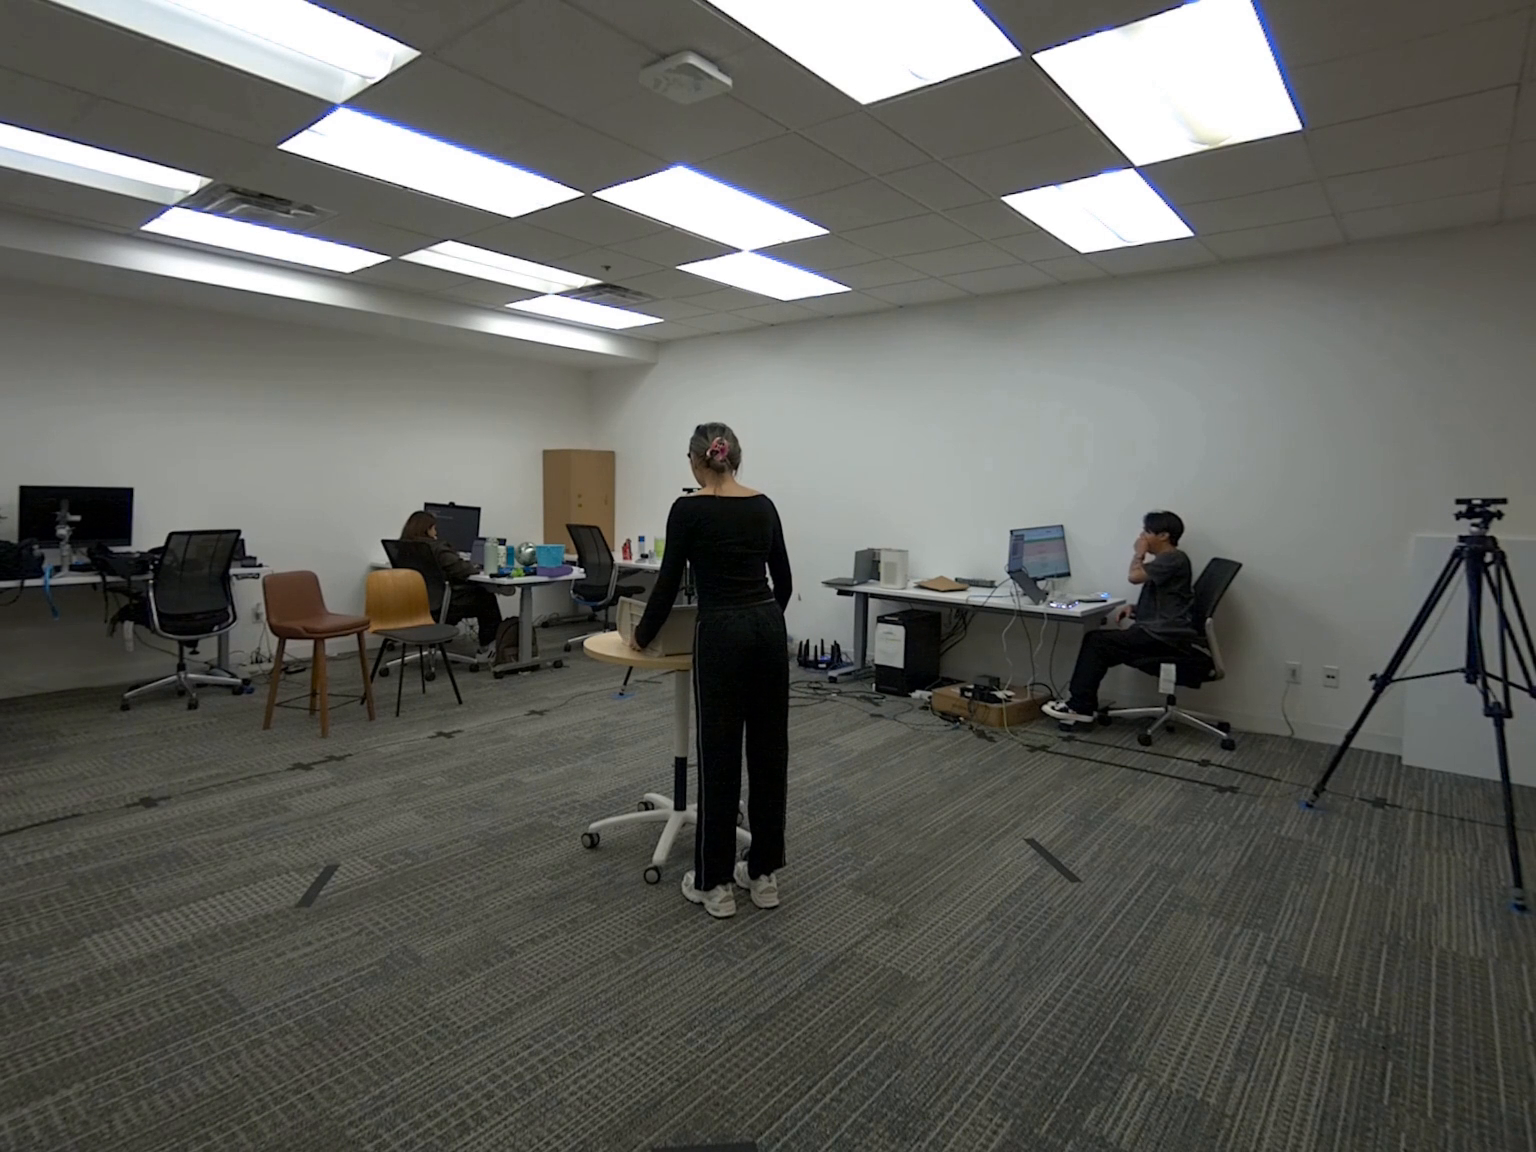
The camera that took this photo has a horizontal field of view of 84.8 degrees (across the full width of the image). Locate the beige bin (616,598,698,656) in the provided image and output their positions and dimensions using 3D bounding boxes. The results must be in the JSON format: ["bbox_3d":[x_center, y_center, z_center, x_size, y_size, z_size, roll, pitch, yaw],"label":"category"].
[{"bbox_3d":[-0.322,0.173,3.226,0.411,0.188,0.389,-1,6,-31],"label":"beige bin"}]
